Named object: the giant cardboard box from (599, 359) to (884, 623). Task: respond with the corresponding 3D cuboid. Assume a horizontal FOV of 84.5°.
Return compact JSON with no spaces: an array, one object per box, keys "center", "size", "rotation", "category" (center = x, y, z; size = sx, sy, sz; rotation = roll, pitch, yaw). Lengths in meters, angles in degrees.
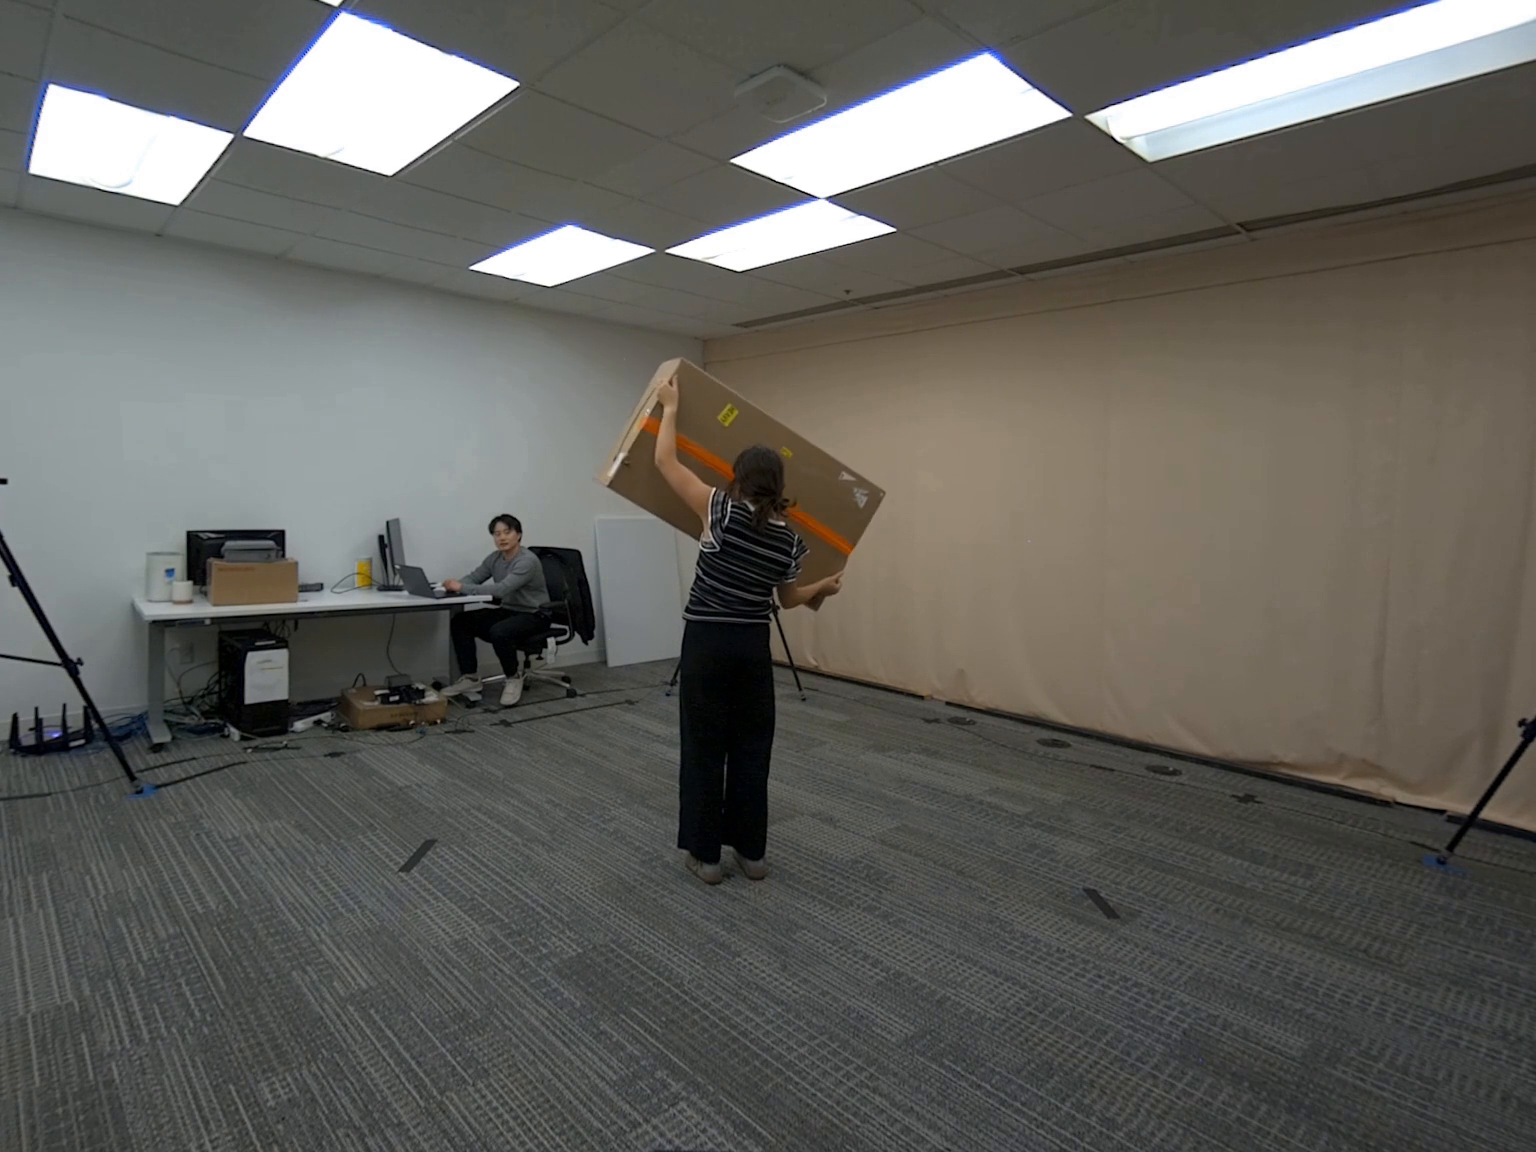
[{"center":[-0.131,-0.374,3.540],"size":[1.007,0.577,0.434],"rotation":[31,-1,-18],"category":"giant cardboard box"}]
